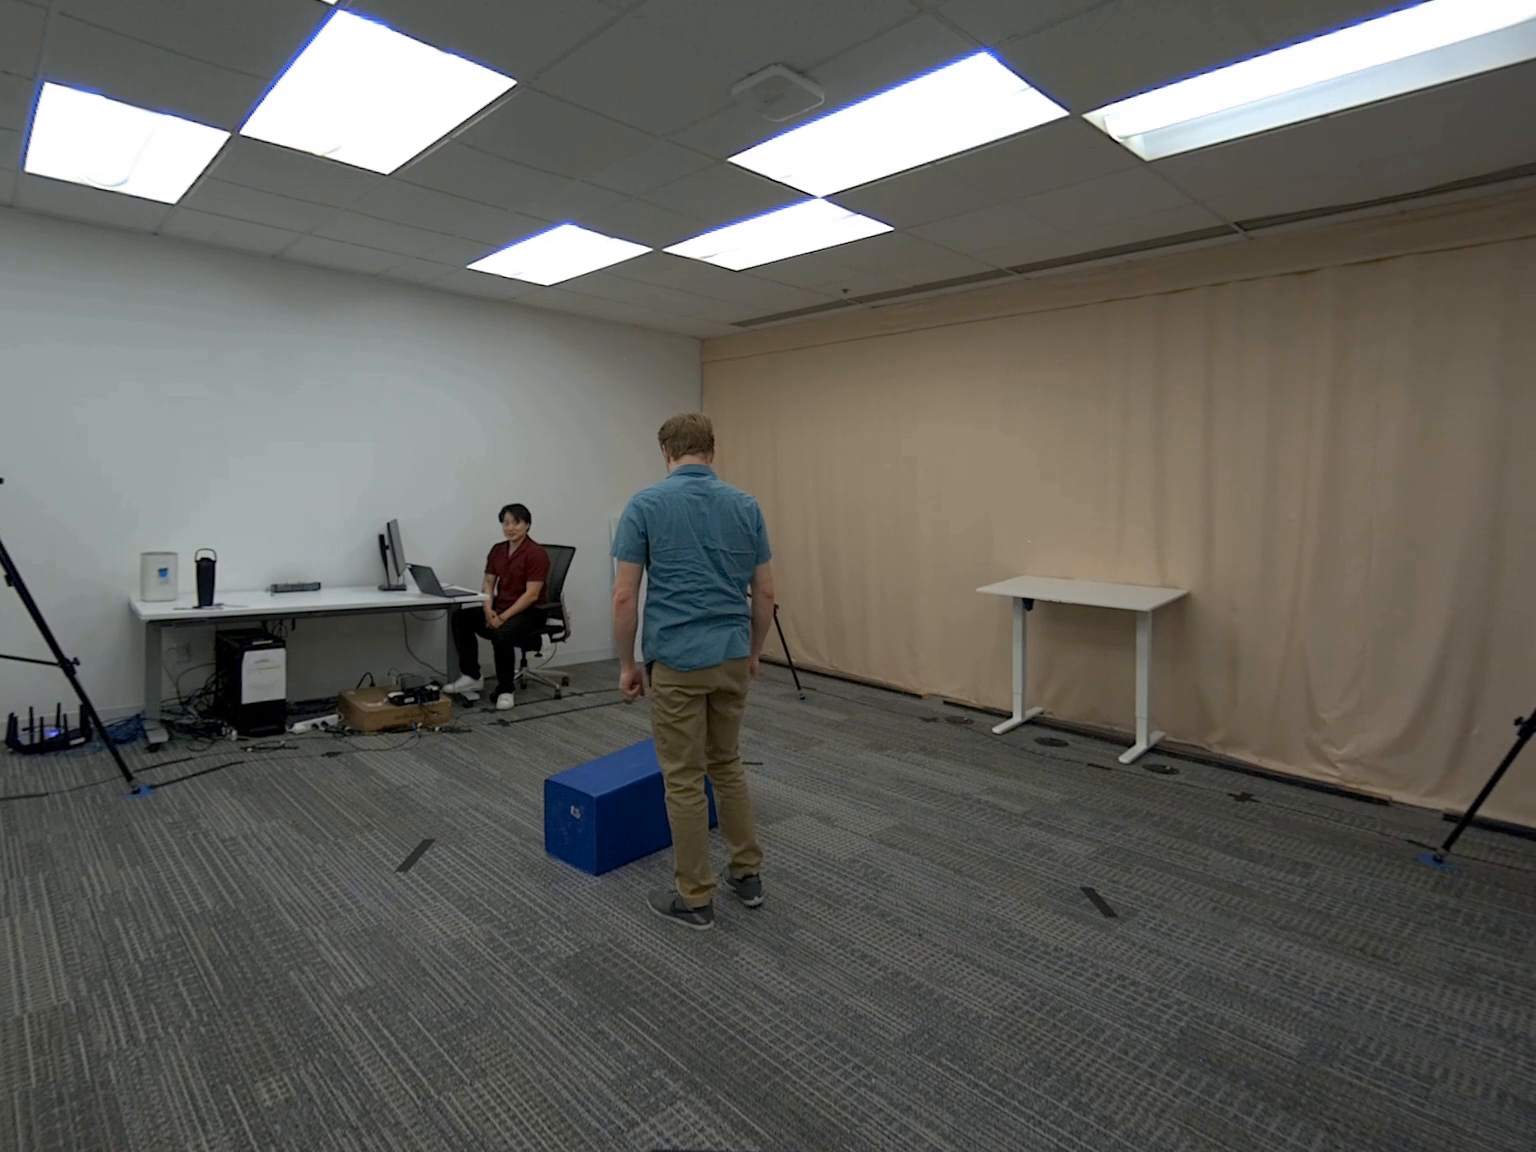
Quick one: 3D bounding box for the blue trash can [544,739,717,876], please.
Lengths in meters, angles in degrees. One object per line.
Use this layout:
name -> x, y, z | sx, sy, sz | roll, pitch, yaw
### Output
blue trash can -> -0.528, 0.906, 3.411 | 0.383, 0.376, 0.699 | 5, 9, 38
